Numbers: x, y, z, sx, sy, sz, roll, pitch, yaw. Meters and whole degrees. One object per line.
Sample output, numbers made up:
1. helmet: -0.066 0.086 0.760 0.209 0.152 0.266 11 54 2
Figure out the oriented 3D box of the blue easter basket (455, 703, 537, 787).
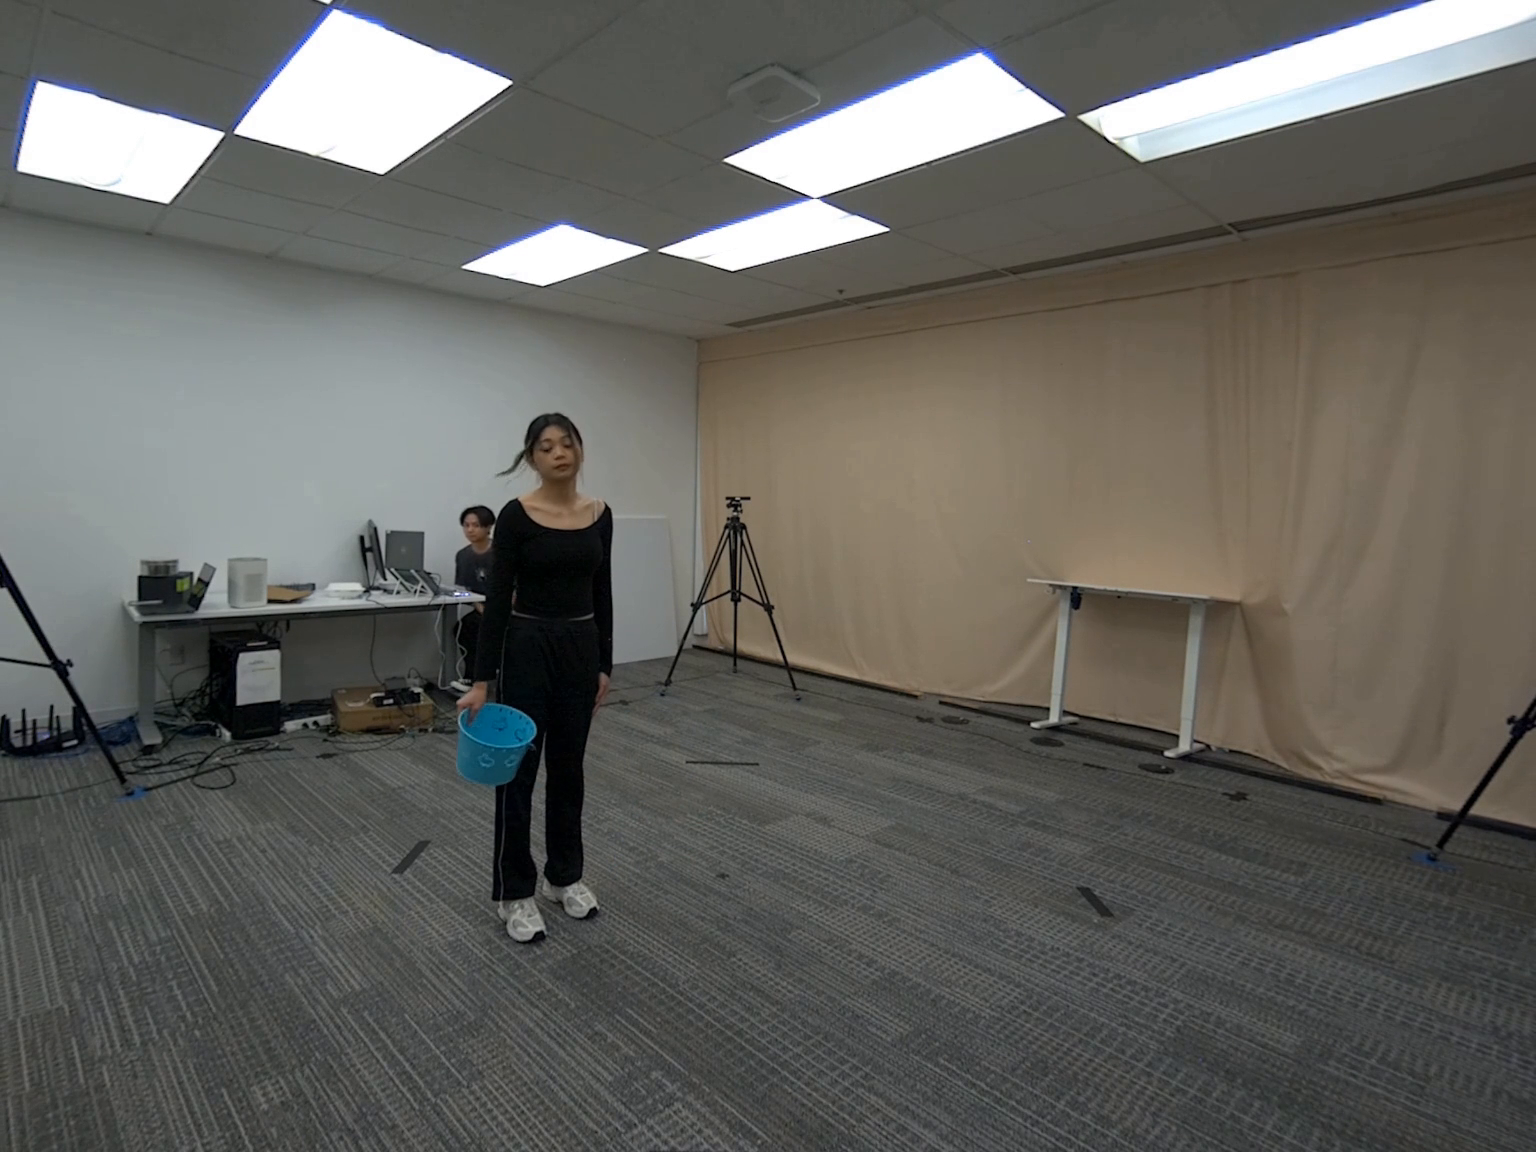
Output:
1. blue easter basket: -0.831 0.515 2.524 0.242 0.155 0.247 16 16 -6
